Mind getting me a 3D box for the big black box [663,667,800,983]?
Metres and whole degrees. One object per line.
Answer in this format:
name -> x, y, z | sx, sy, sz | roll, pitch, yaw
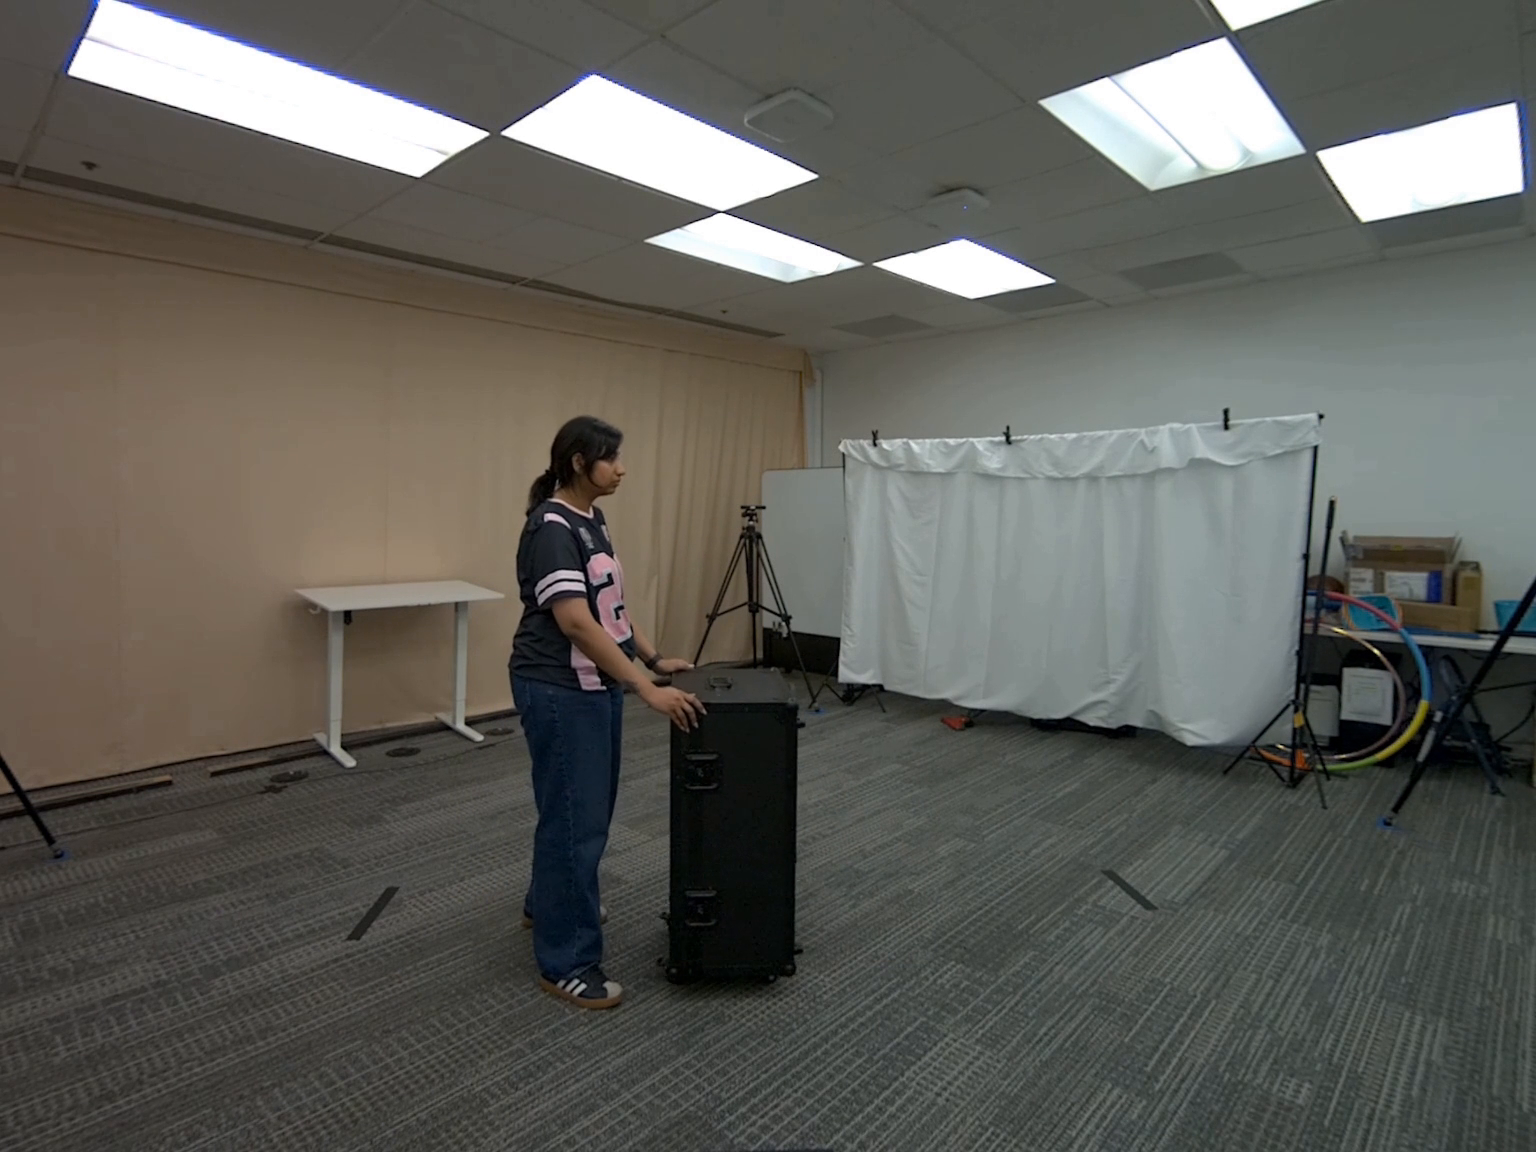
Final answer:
big black box -> -0.112, 0.758, 2.581 | 0.383, 0.867, 0.527 | 1, 3, -5
